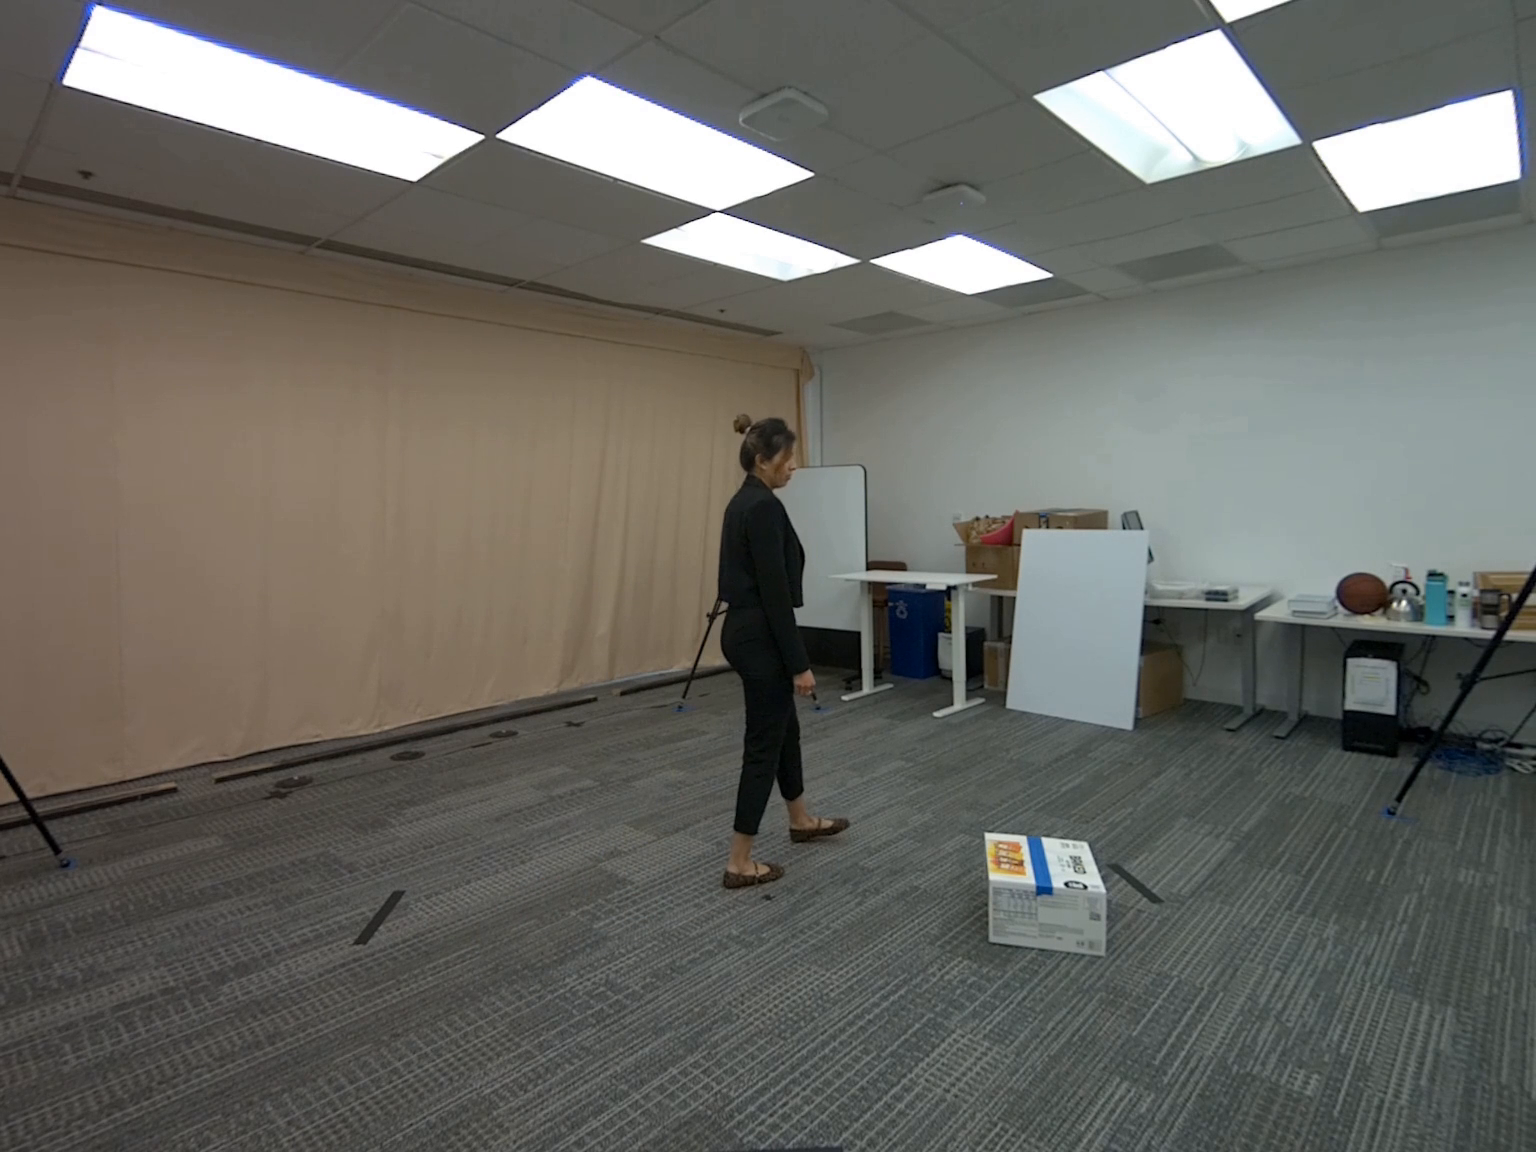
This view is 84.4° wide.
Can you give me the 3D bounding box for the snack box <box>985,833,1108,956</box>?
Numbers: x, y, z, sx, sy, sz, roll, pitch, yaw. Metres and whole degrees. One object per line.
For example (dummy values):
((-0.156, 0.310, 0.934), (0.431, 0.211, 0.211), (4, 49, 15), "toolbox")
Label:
((0.911, 1.041, 2.787), (0.346, 0.205, 0.400), (0, 4, 14), "snack box")
